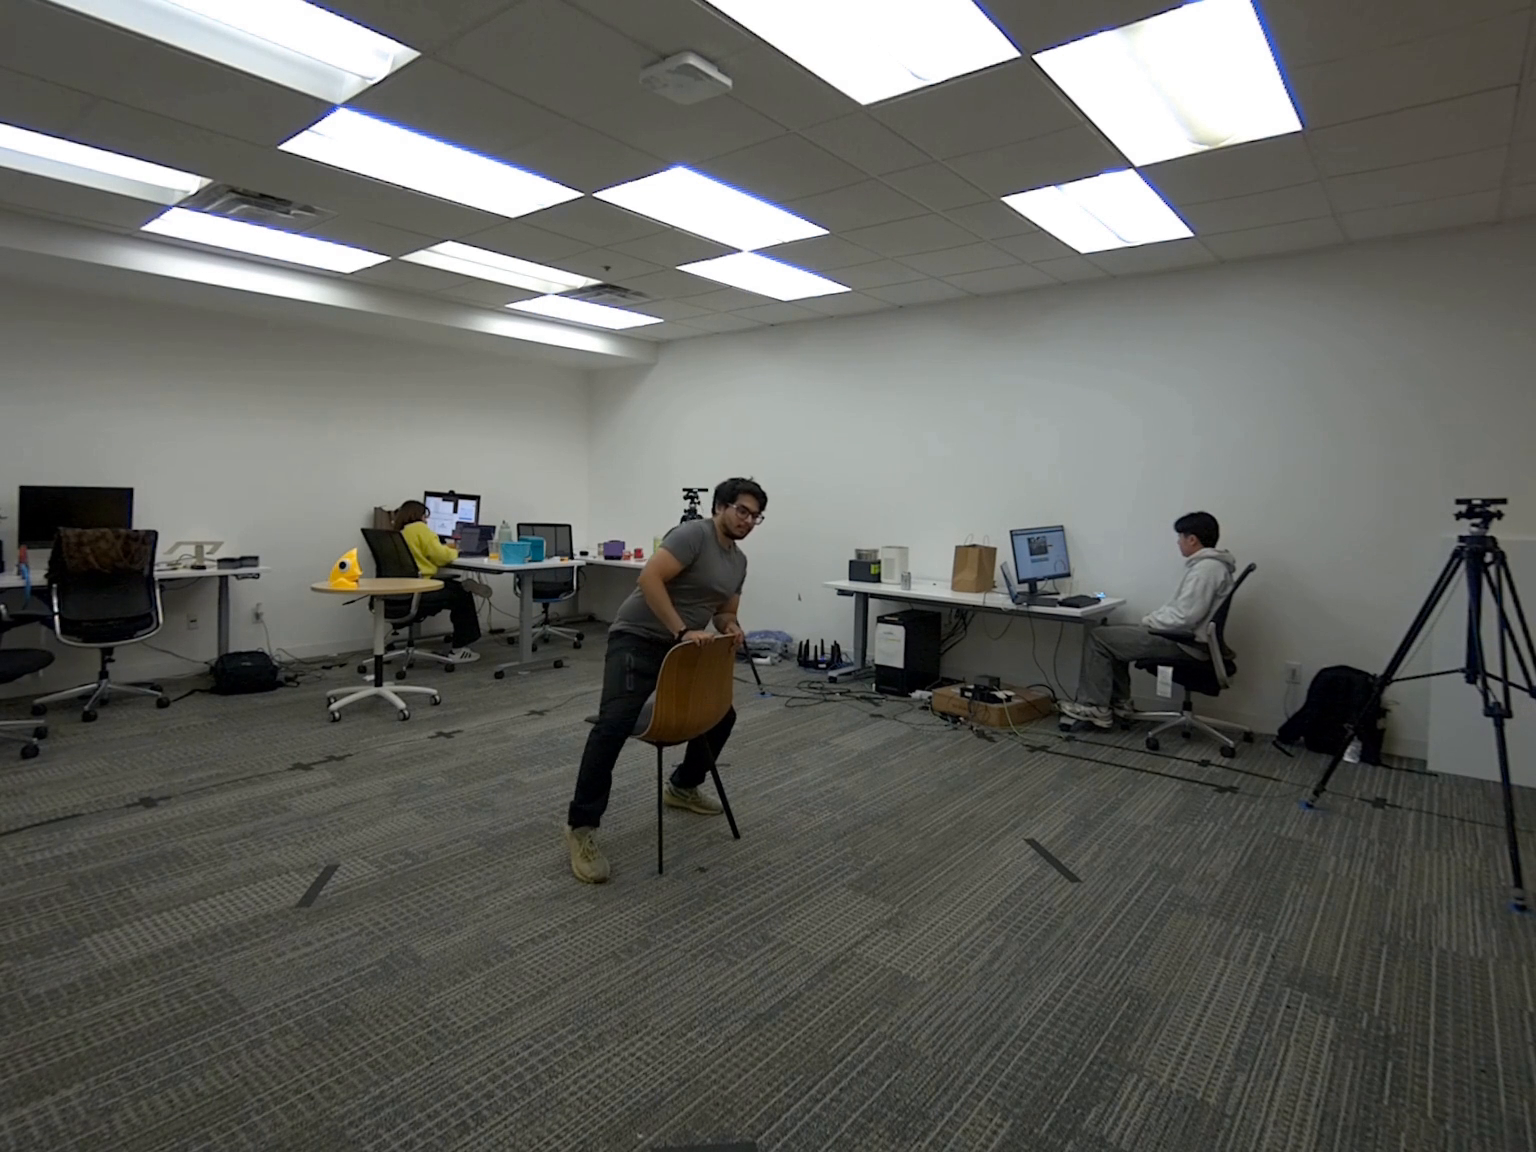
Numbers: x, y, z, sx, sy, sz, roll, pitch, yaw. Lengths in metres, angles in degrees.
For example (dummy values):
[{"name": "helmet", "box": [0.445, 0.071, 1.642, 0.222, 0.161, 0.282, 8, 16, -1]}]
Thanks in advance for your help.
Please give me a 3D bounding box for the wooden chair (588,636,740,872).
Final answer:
[{"name": "wooden chair", "box": [-0.435, 0.615, 3.350, 0.542, 0.873, 0.464, 9, 8, 39]}]
